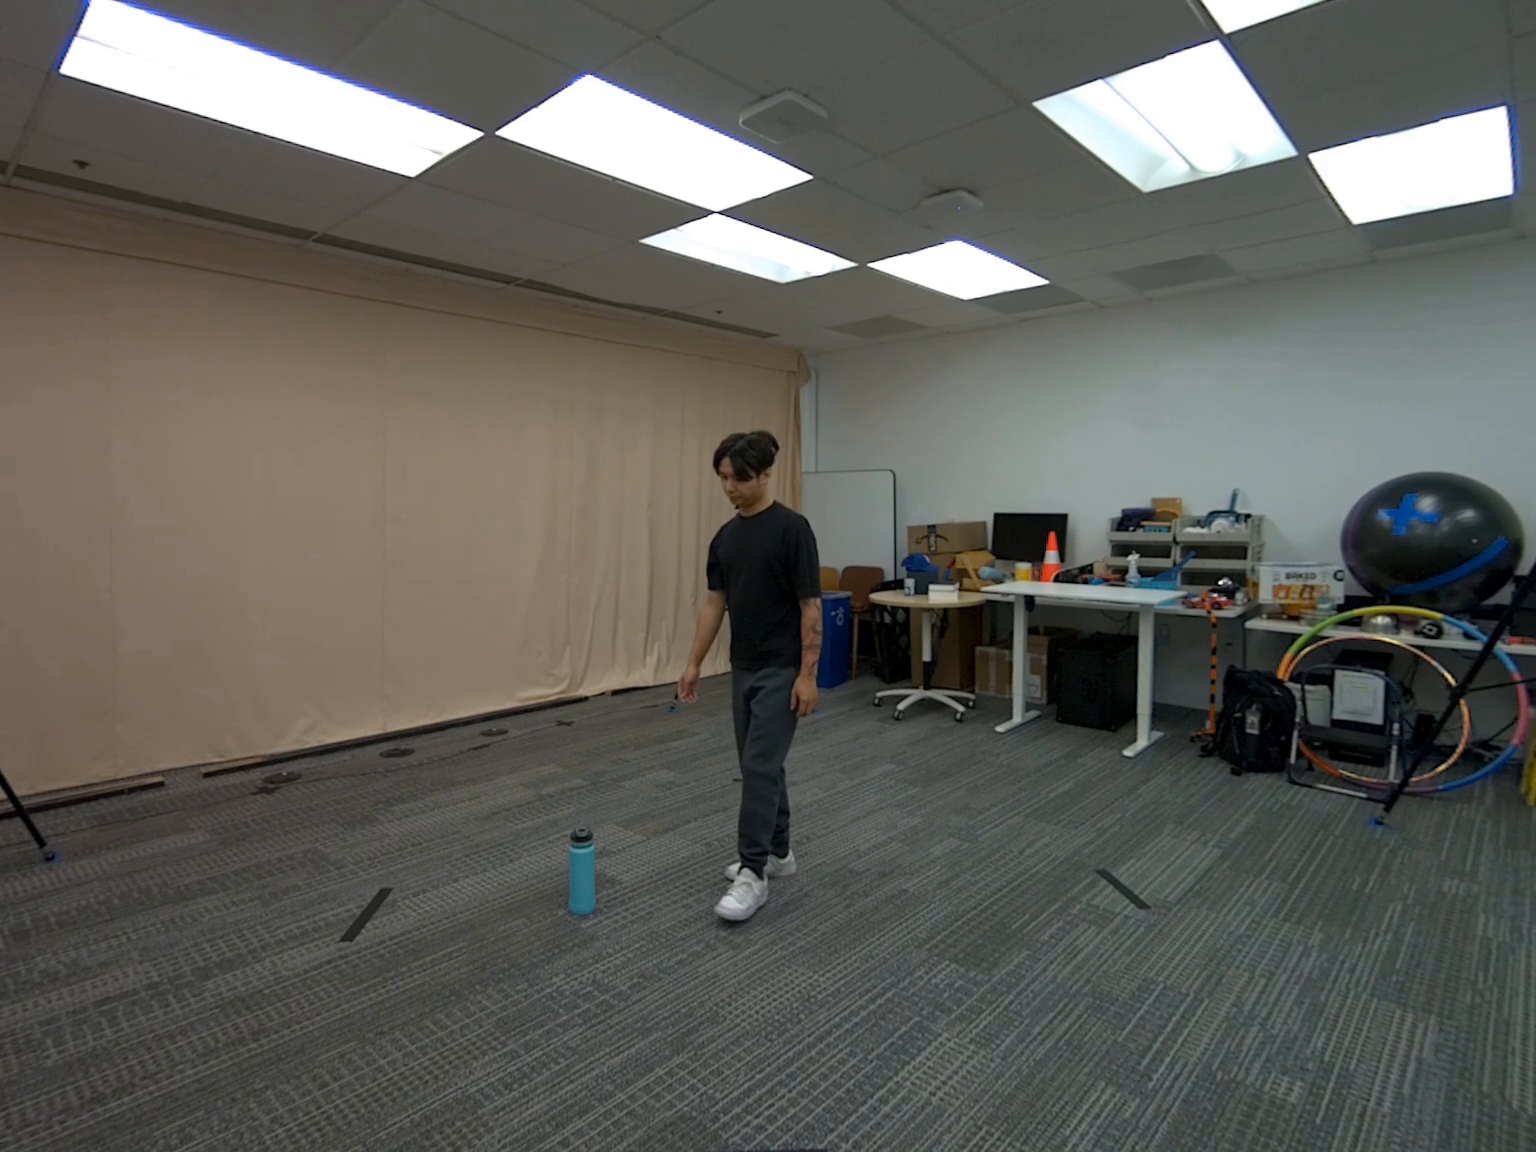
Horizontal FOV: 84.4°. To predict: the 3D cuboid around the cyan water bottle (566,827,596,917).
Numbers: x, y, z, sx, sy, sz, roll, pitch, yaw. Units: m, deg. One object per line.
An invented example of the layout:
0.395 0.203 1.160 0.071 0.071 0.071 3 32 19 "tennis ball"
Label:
-0.646 1.019 2.913 0.092 0.283 0.092 0 1 -2 "cyan water bottle"
